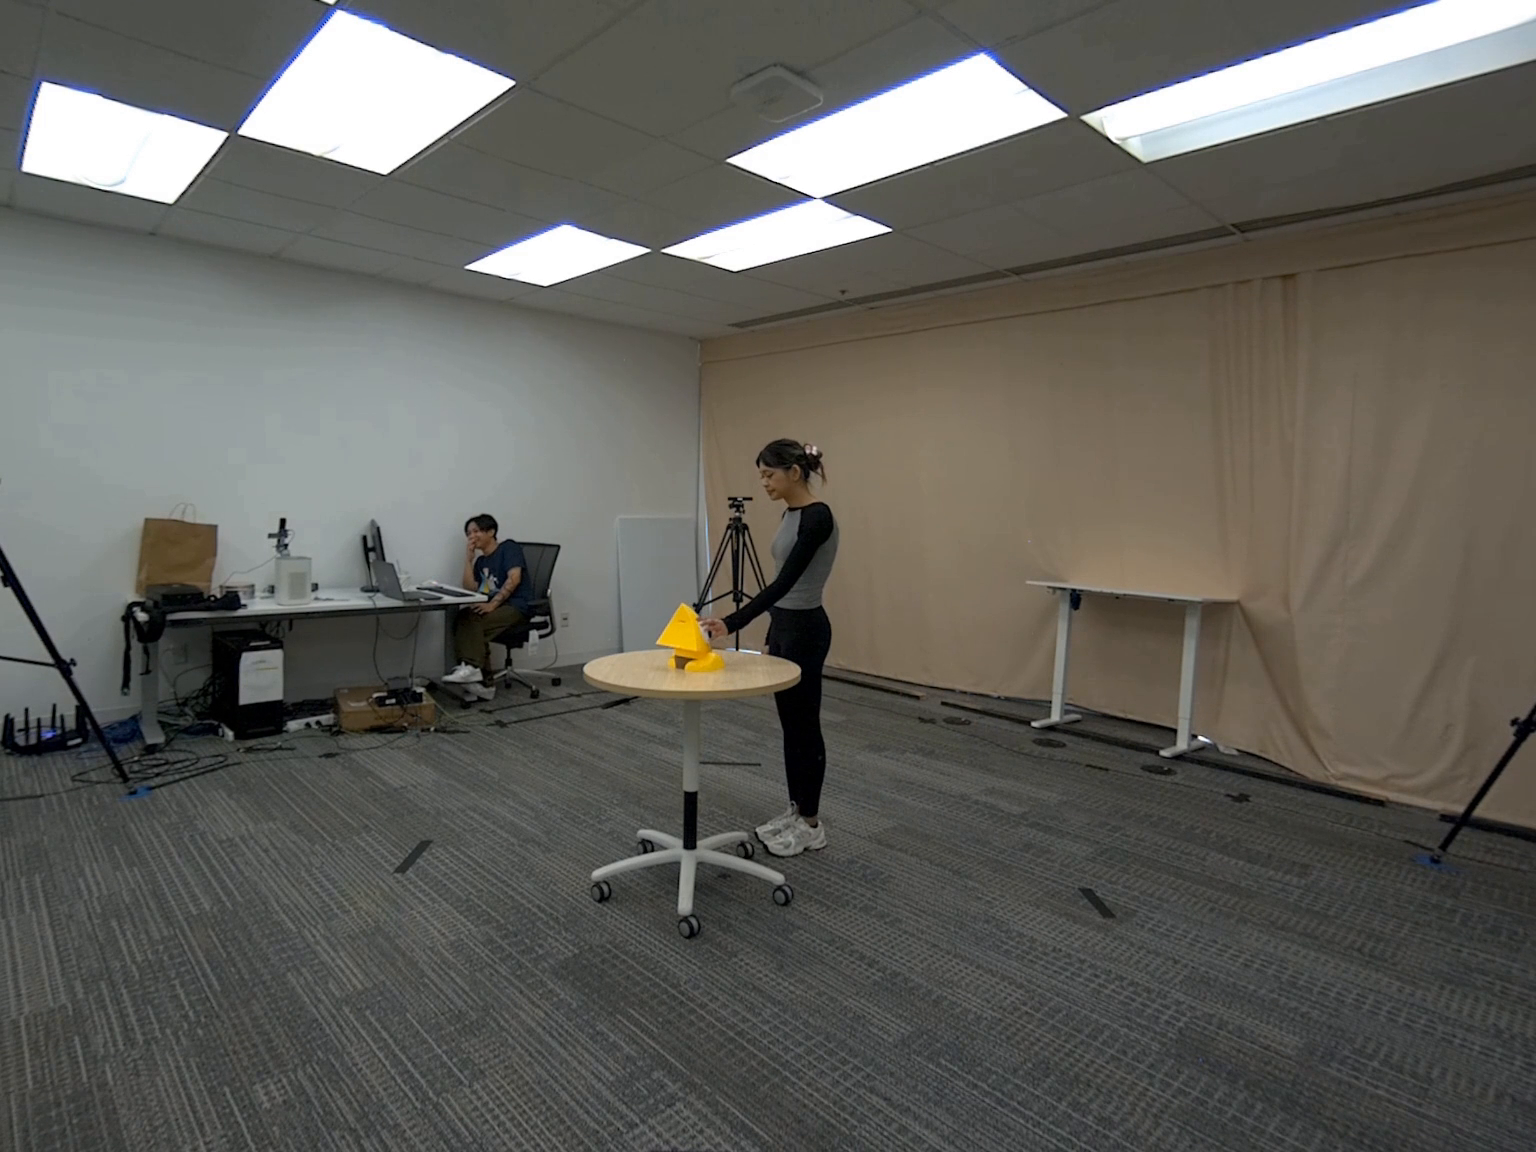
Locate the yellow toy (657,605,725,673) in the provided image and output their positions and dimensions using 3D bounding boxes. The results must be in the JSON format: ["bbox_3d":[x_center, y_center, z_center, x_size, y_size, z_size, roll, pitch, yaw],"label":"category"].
[{"bbox_3d":[-0.270,0.210,2.993,0.210,0.230,0.188,4,4,42],"label":"yellow toy"}]
